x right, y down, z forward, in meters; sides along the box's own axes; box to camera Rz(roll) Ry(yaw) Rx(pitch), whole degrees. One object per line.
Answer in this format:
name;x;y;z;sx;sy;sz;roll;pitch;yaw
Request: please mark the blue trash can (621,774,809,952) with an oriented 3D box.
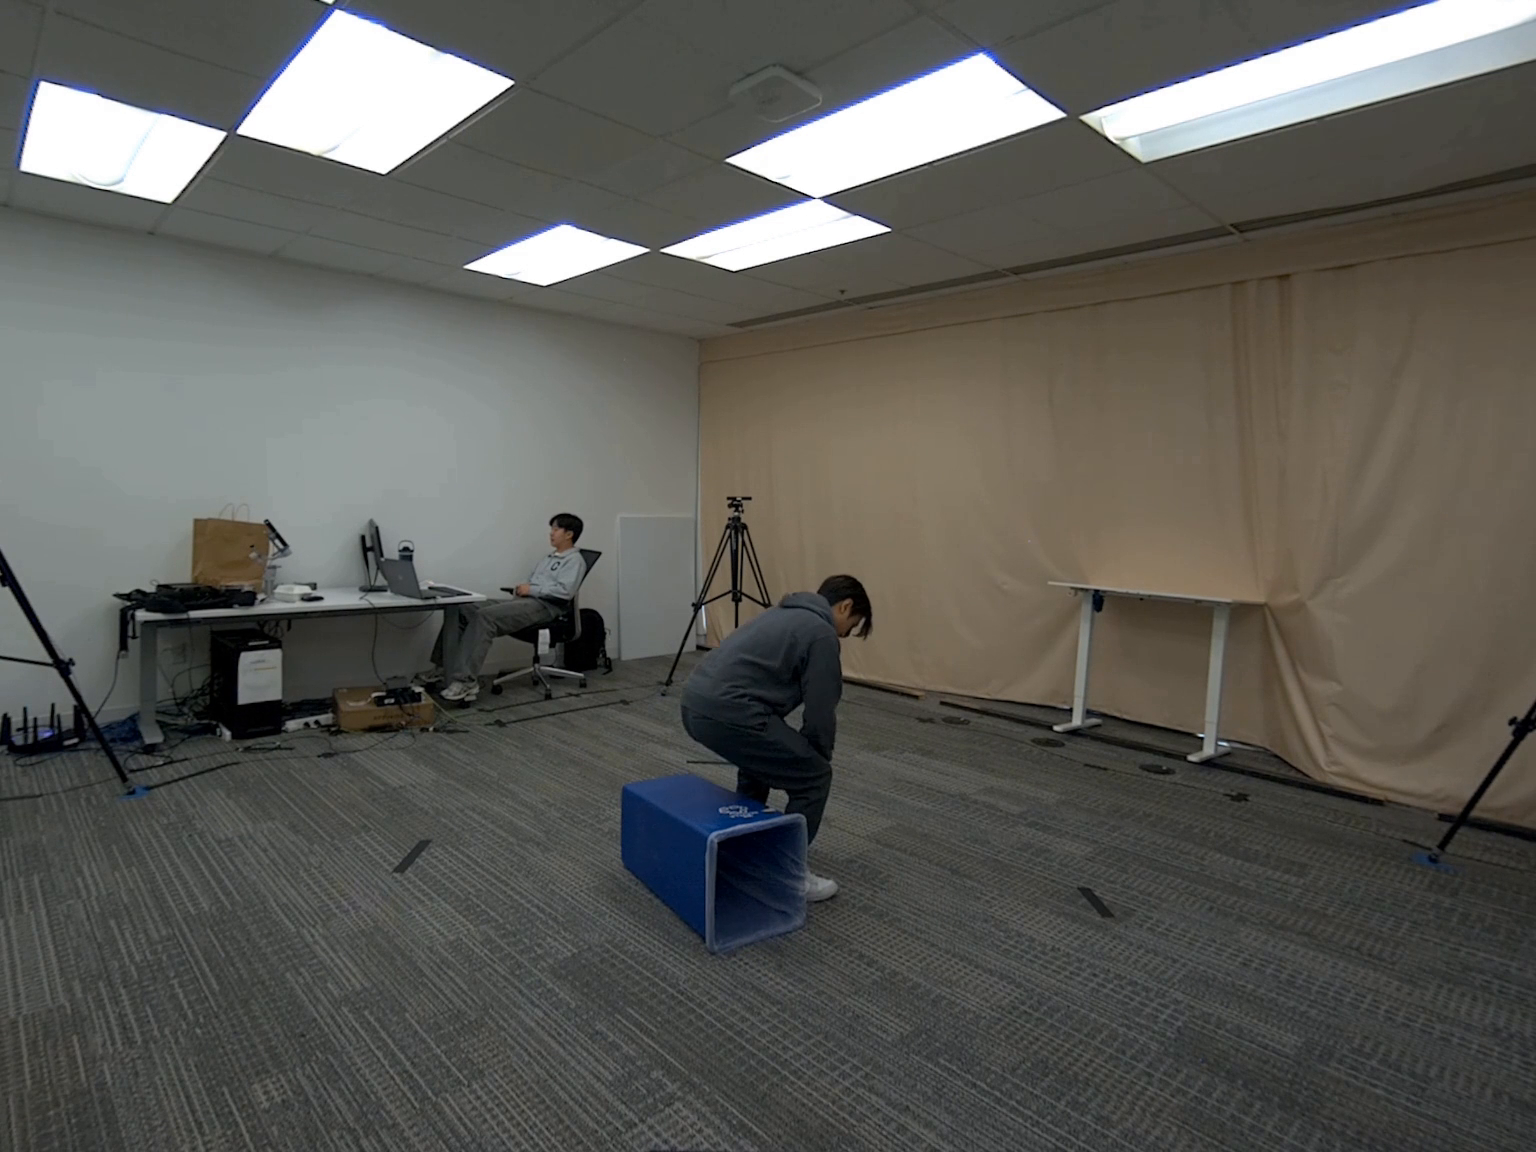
blue trash can;-0.238;0.950;2.937;0.366;0.378;0.730;-1;3;-34
